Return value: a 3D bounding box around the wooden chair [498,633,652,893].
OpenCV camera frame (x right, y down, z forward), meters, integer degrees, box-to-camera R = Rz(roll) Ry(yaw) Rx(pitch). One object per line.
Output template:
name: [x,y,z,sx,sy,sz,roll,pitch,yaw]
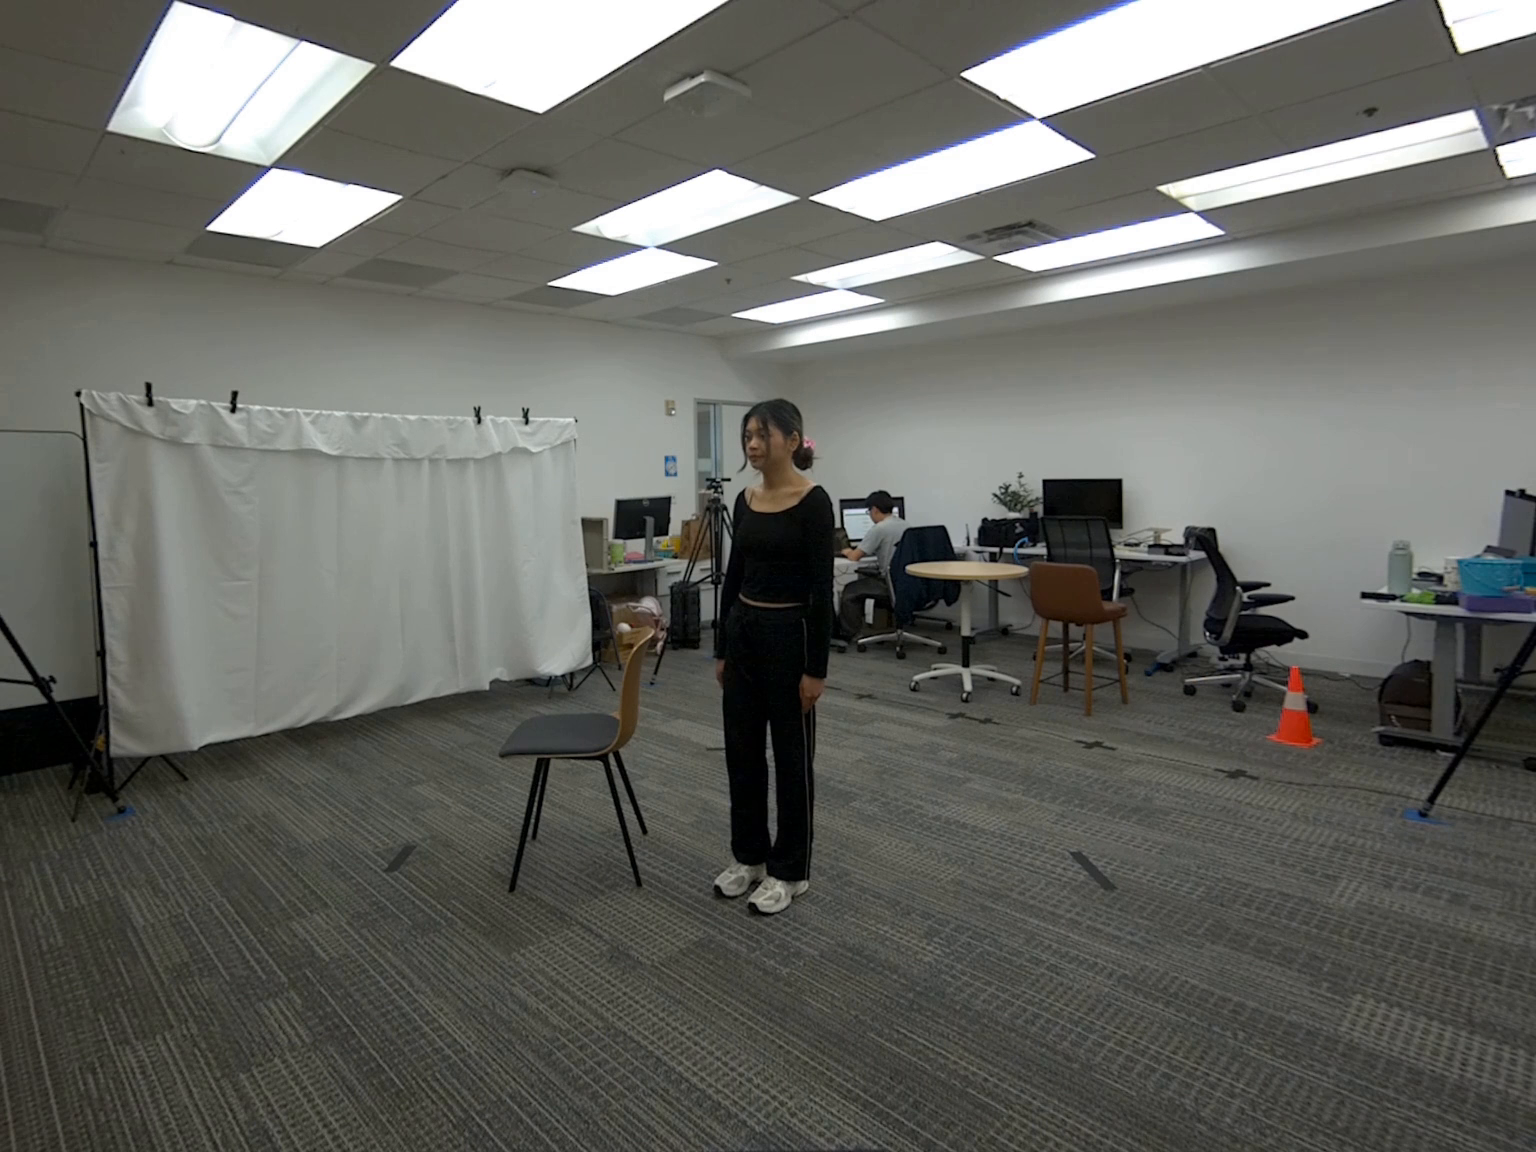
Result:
wooden chair: [-0.694,0.629,3.109,0.521,0.874,0.482,2,4,-5]
